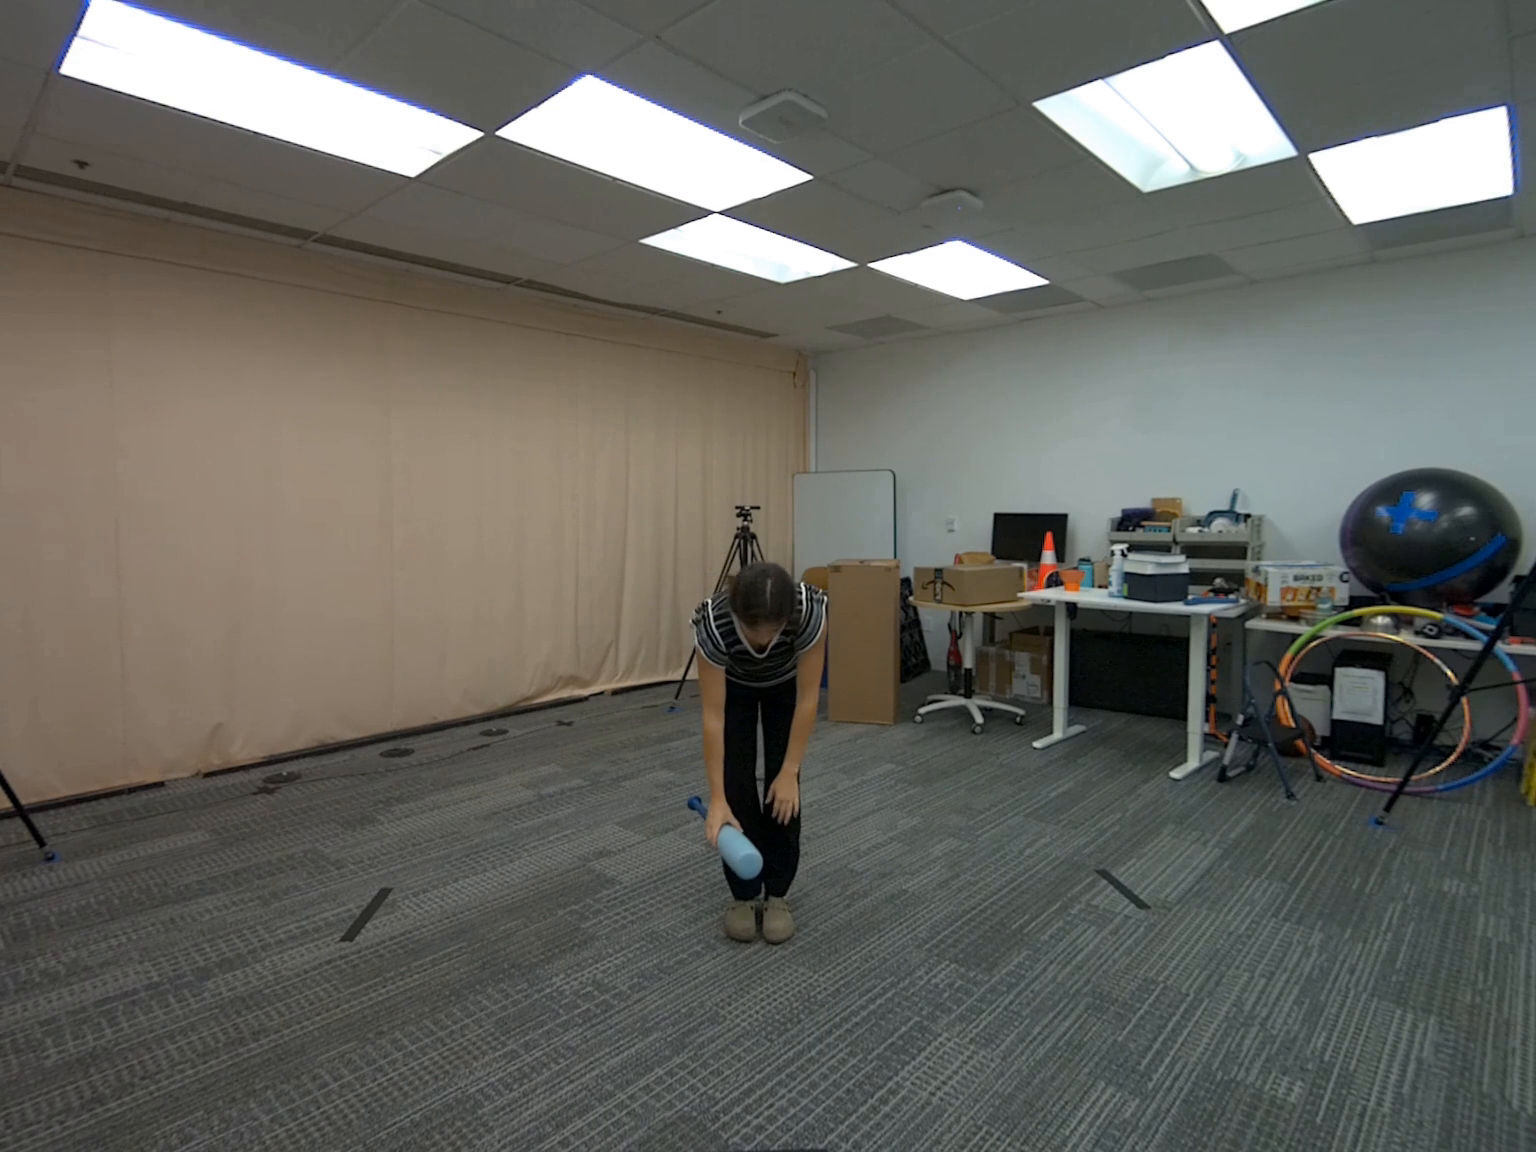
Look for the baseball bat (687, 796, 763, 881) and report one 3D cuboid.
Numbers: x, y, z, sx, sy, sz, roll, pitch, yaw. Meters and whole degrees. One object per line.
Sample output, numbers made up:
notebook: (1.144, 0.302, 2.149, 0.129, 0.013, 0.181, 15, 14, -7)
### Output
baseball bat: (-0.129, 0.779, 2.597, 0.087, 0.089, 0.553, -1, 4, -18)
